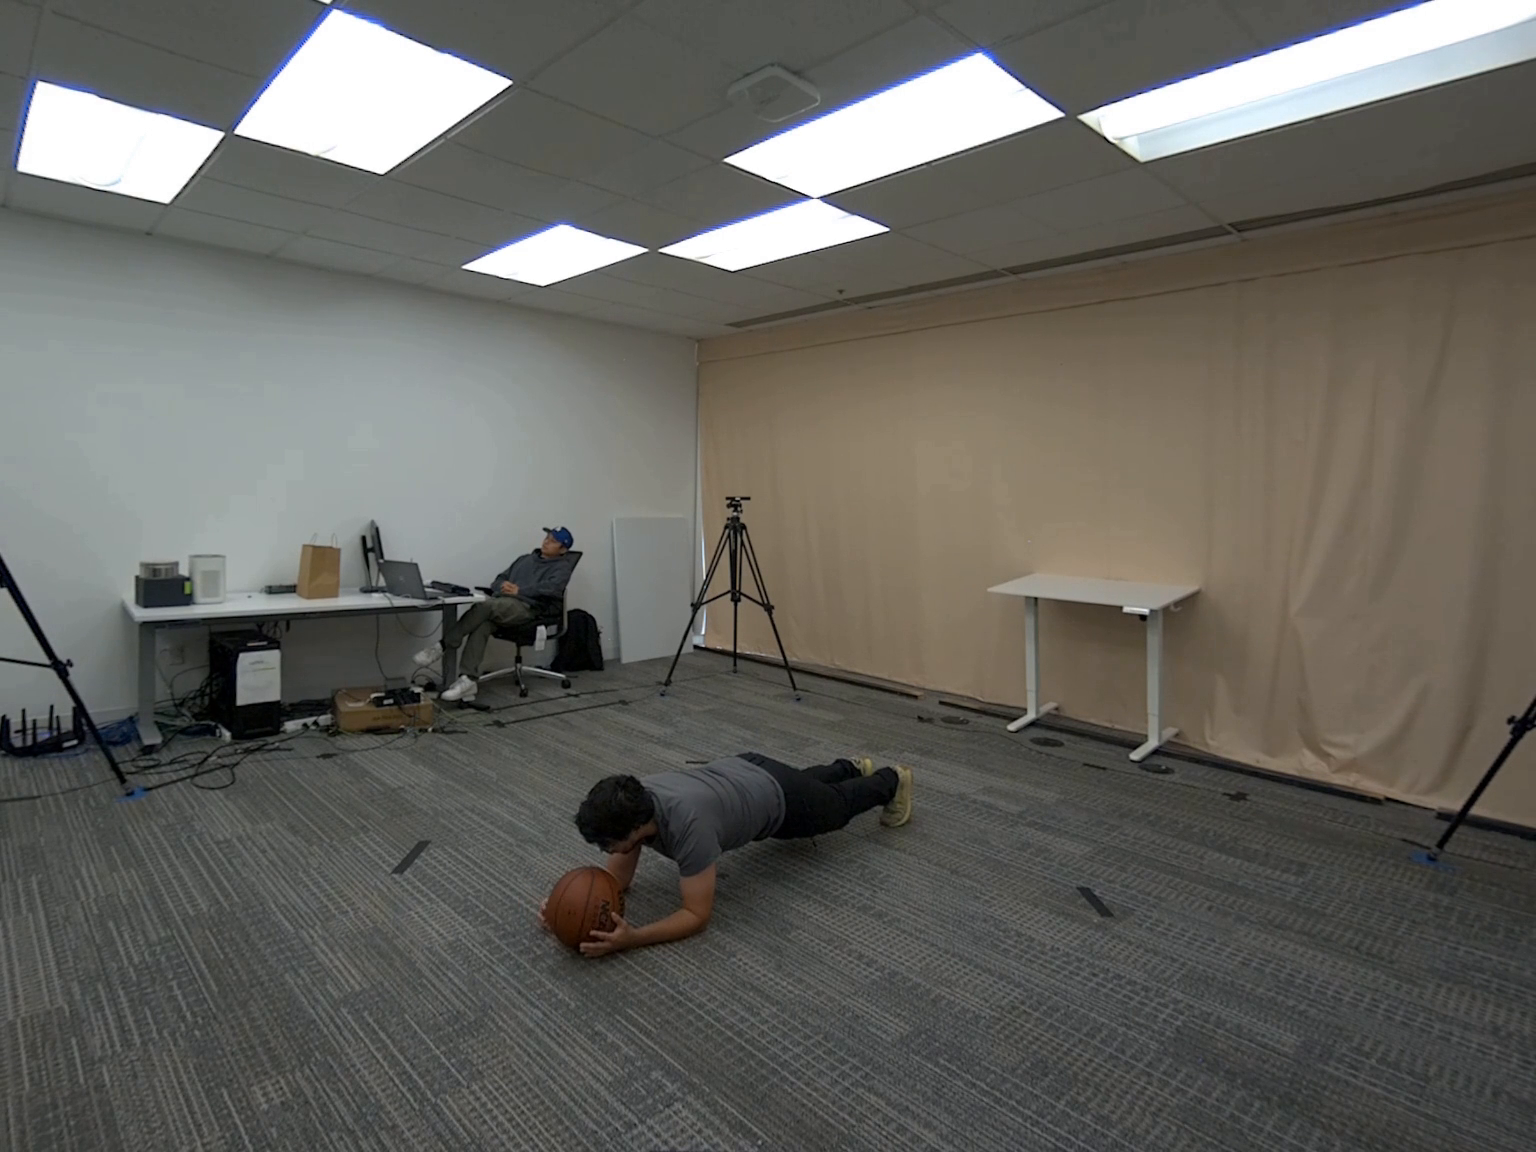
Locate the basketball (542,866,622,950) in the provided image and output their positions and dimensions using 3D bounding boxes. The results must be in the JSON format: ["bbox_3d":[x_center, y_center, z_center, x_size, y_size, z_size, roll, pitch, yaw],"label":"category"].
[{"bbox_3d":[-0.566,1.028,2.592,0.236,0.235,0.237,1,4,-1],"label":"basketball"}]
